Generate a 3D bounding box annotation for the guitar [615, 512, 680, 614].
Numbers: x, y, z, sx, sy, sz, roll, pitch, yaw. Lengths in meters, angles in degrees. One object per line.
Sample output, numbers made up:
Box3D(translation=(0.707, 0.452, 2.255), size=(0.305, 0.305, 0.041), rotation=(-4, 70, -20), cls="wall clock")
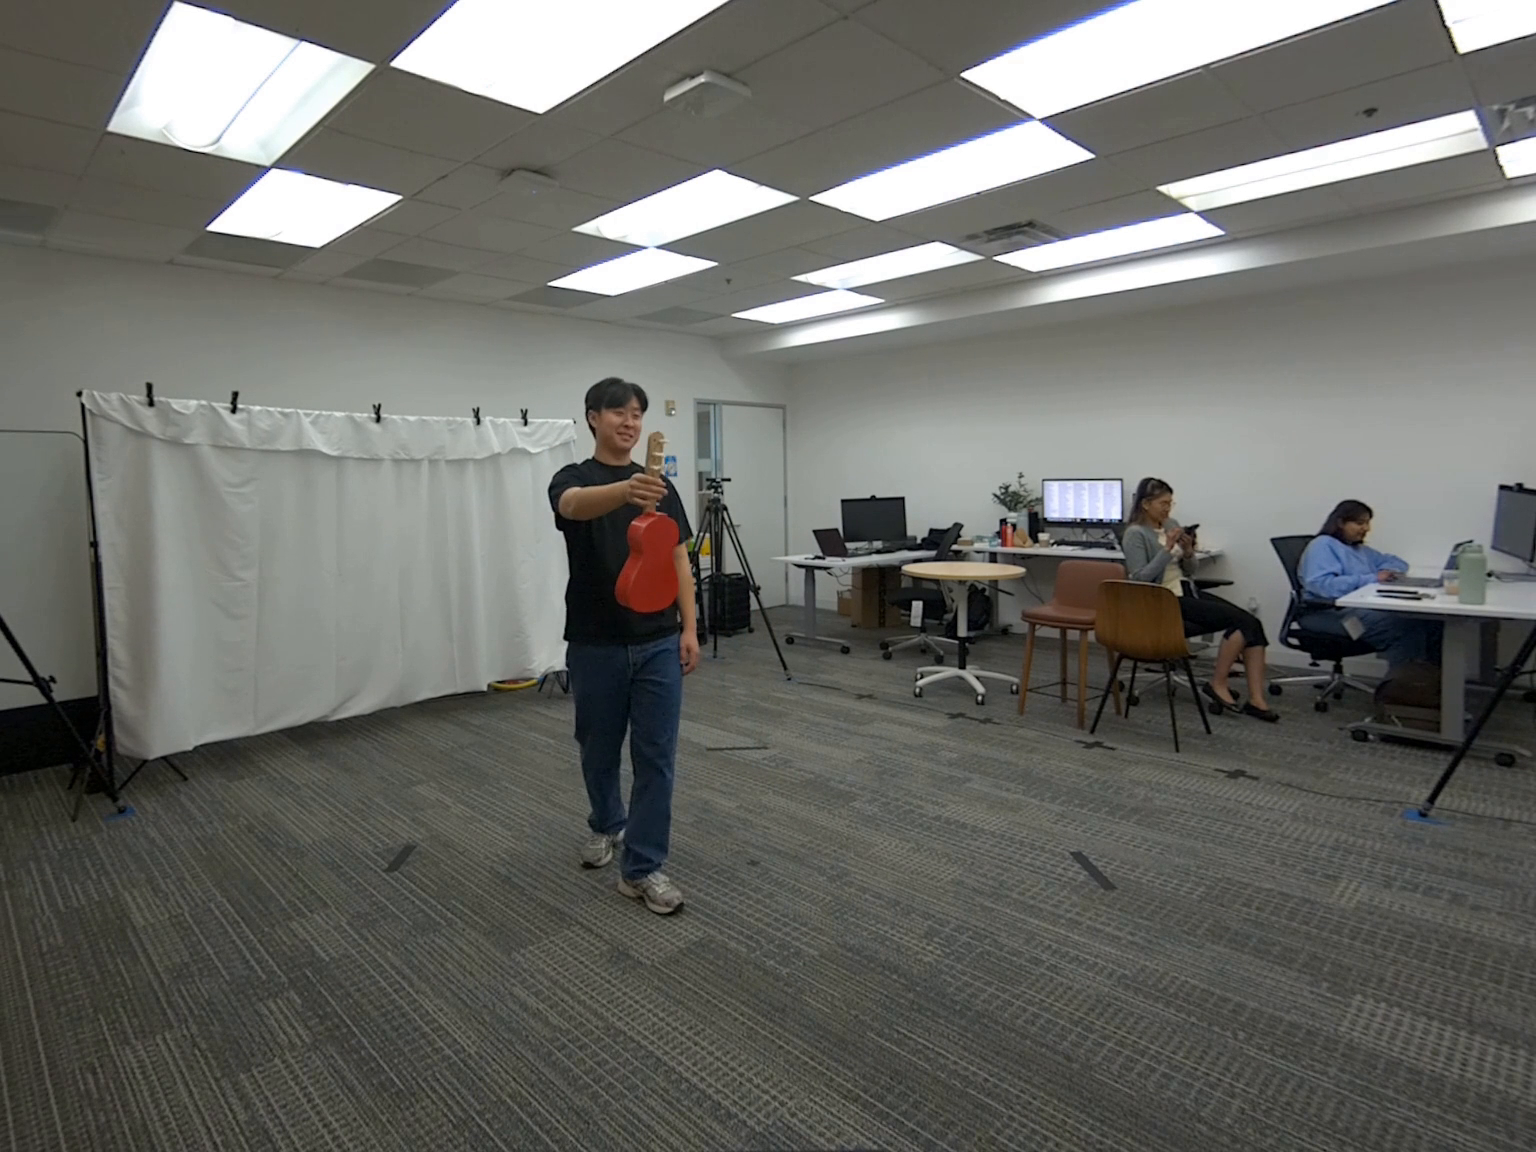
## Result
Box3D(translation=(-0.335, -0.145, 2.359), size=(0.073, 0.492, 0.189), rotation=(11, 17, 38), cls="guitar")
